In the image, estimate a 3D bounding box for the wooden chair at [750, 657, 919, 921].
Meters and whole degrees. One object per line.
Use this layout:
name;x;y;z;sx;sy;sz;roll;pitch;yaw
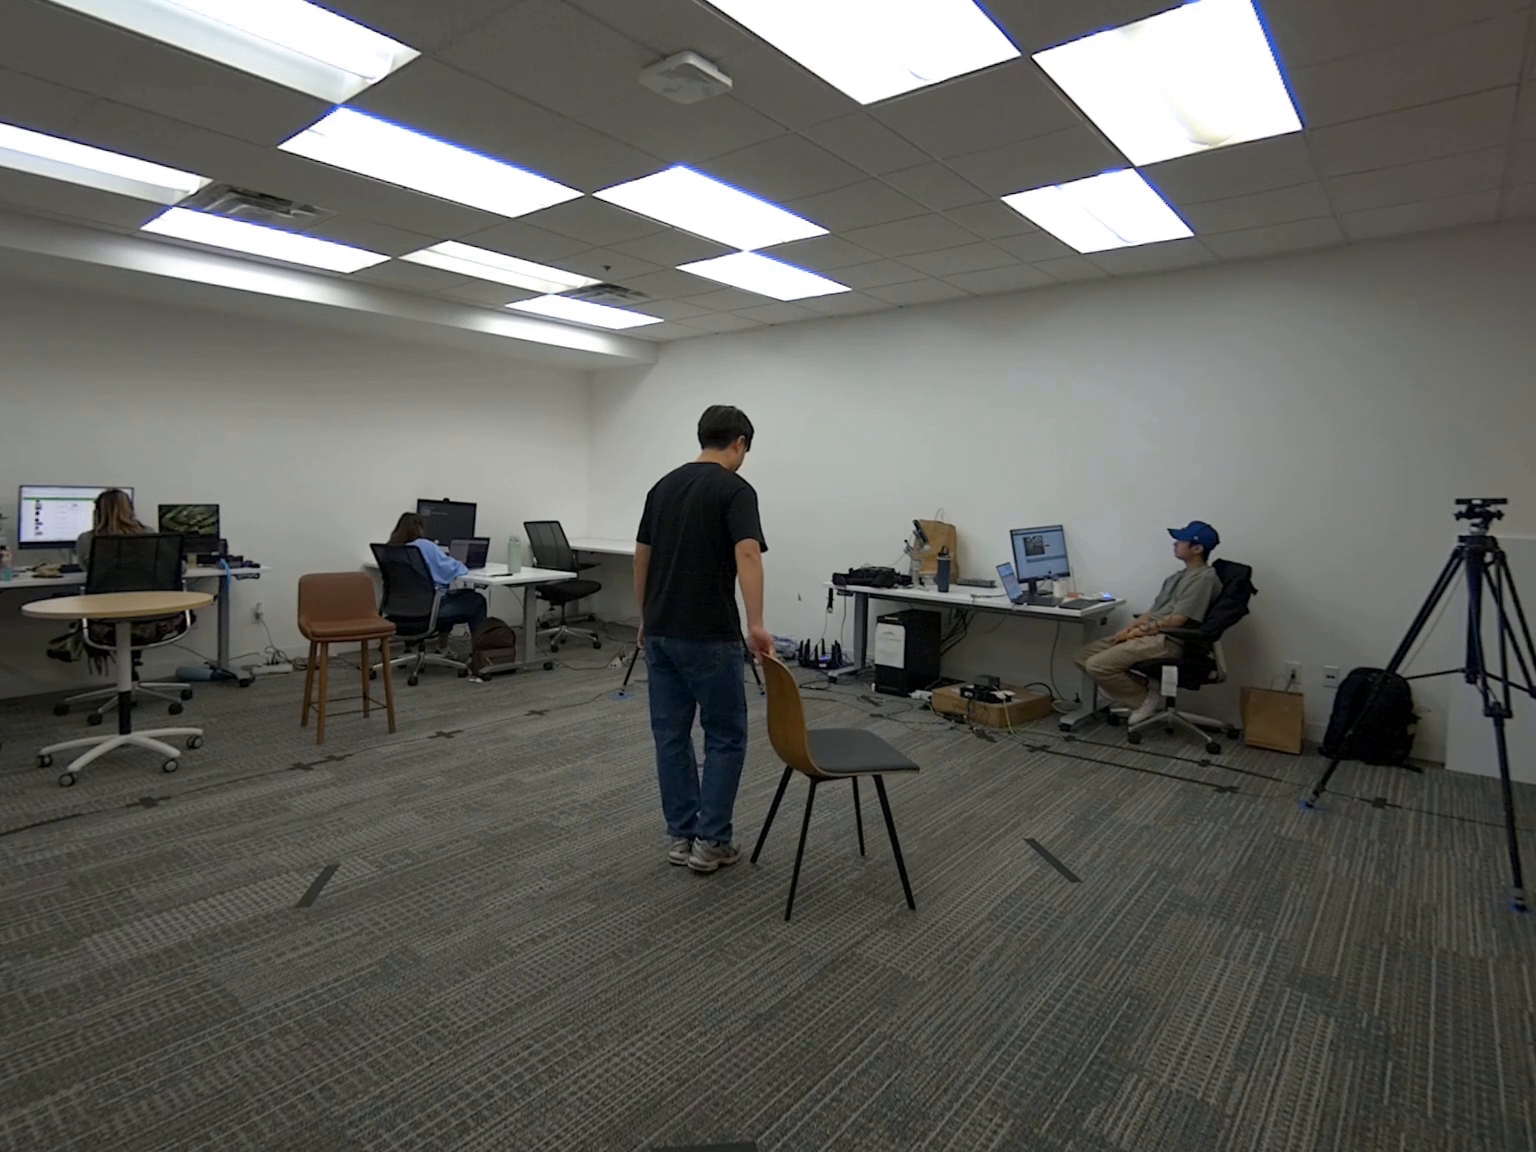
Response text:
wooden chair;0.222;0.662;2.984;0.516;0.875;0.486;-3;3;-14
